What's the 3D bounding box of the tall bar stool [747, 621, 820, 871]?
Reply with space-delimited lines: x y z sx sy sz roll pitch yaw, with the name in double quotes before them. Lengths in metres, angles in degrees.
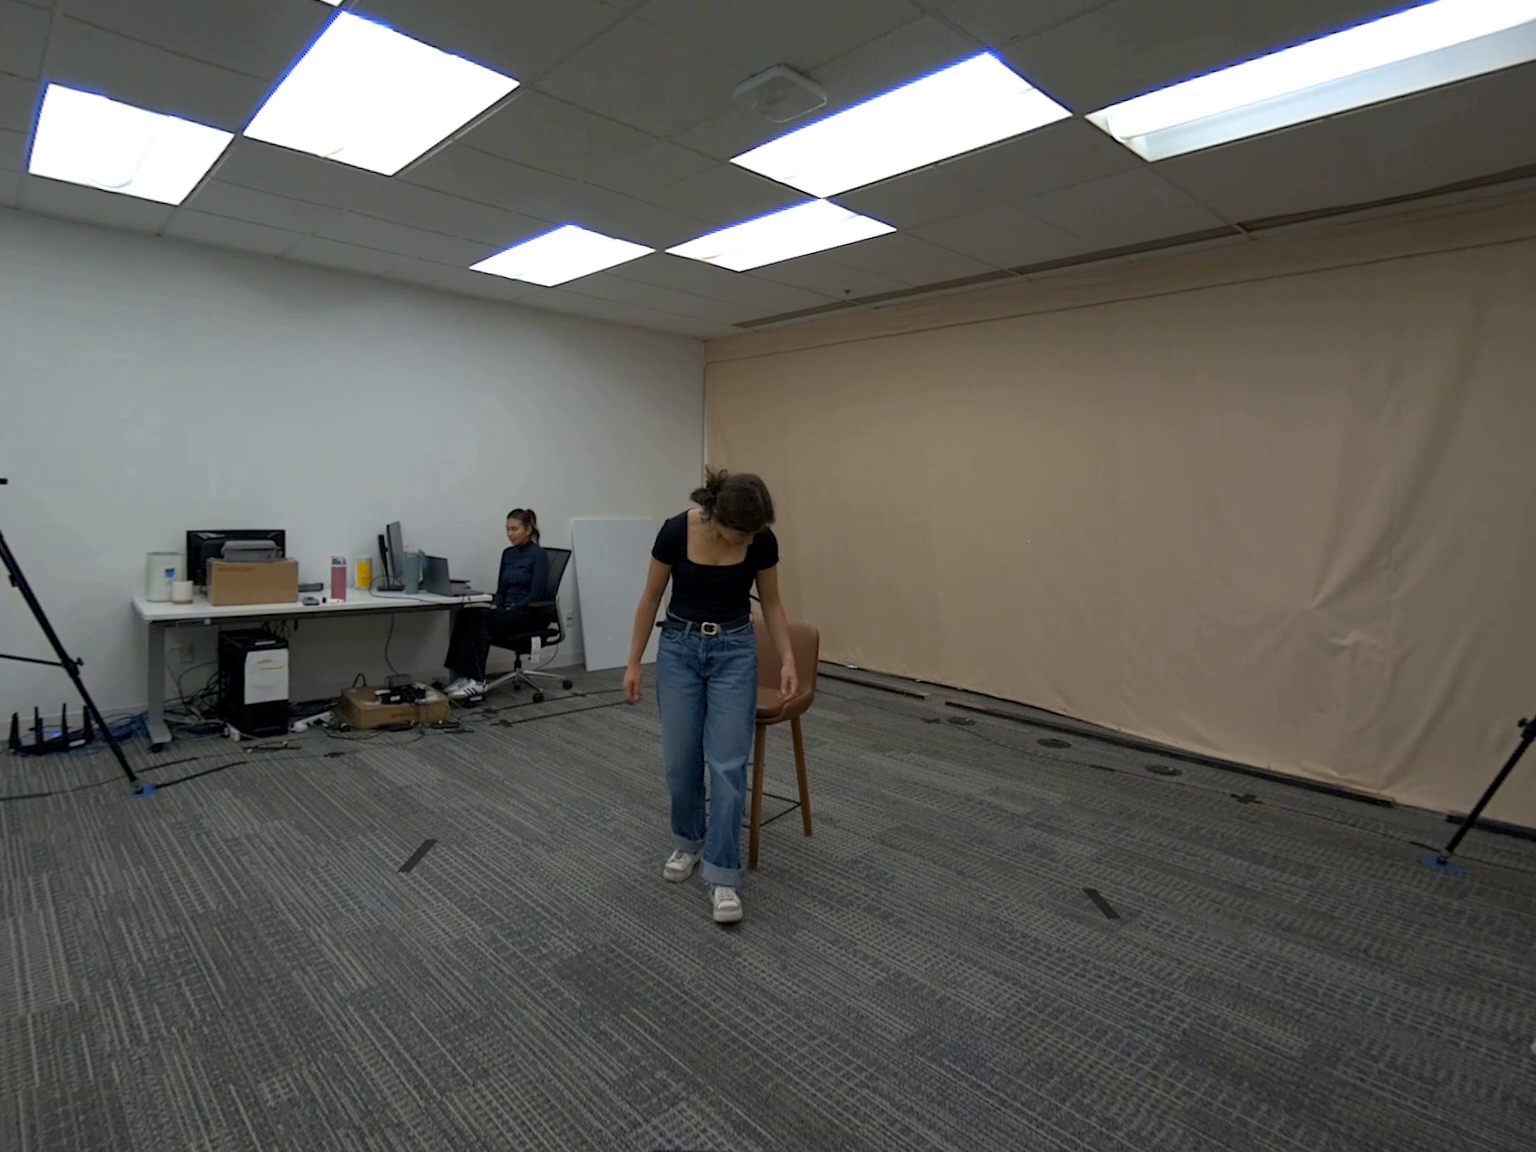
"tall bar stool" -0.079 0.648 3.427 0.467 0.889 0.457 4 2 36
